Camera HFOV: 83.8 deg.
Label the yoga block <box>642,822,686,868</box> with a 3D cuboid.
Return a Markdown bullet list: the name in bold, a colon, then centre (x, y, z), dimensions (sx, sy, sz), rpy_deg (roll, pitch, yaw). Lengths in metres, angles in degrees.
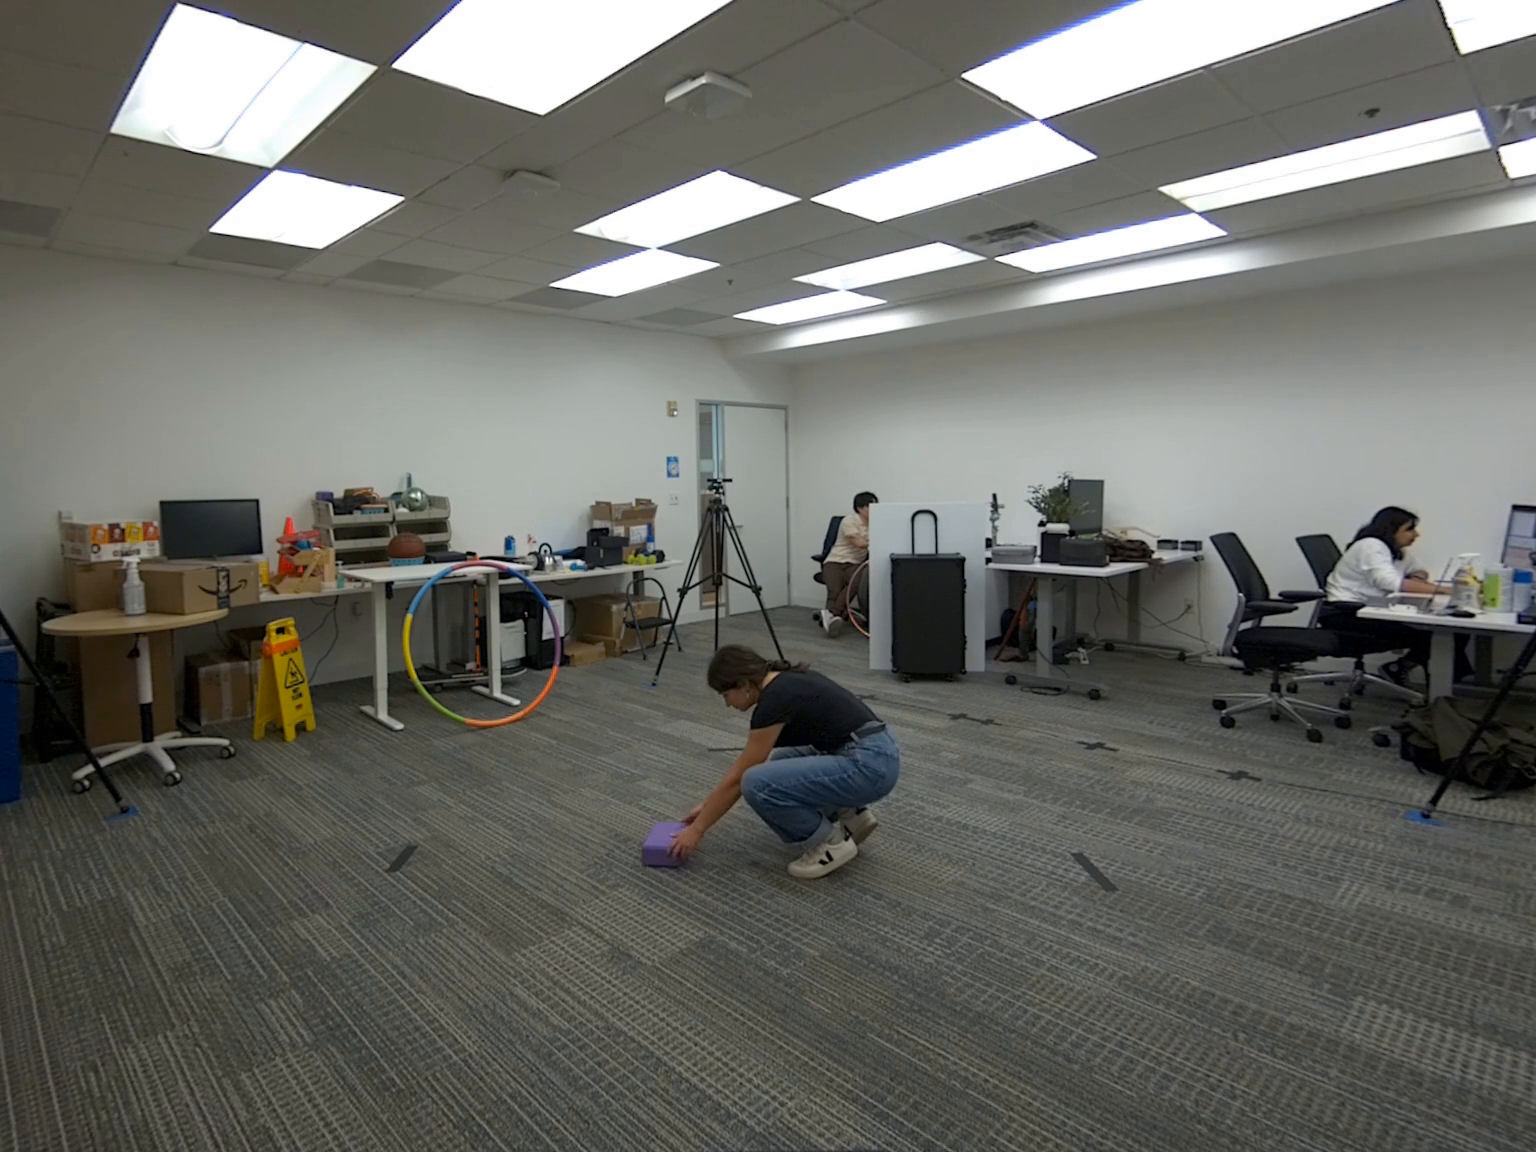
- **yoga block**: centre (-0.360, 1.000, 3.199), dimensions (0.150, 0.076, 0.229), rpy_deg (0, 7, 5)
